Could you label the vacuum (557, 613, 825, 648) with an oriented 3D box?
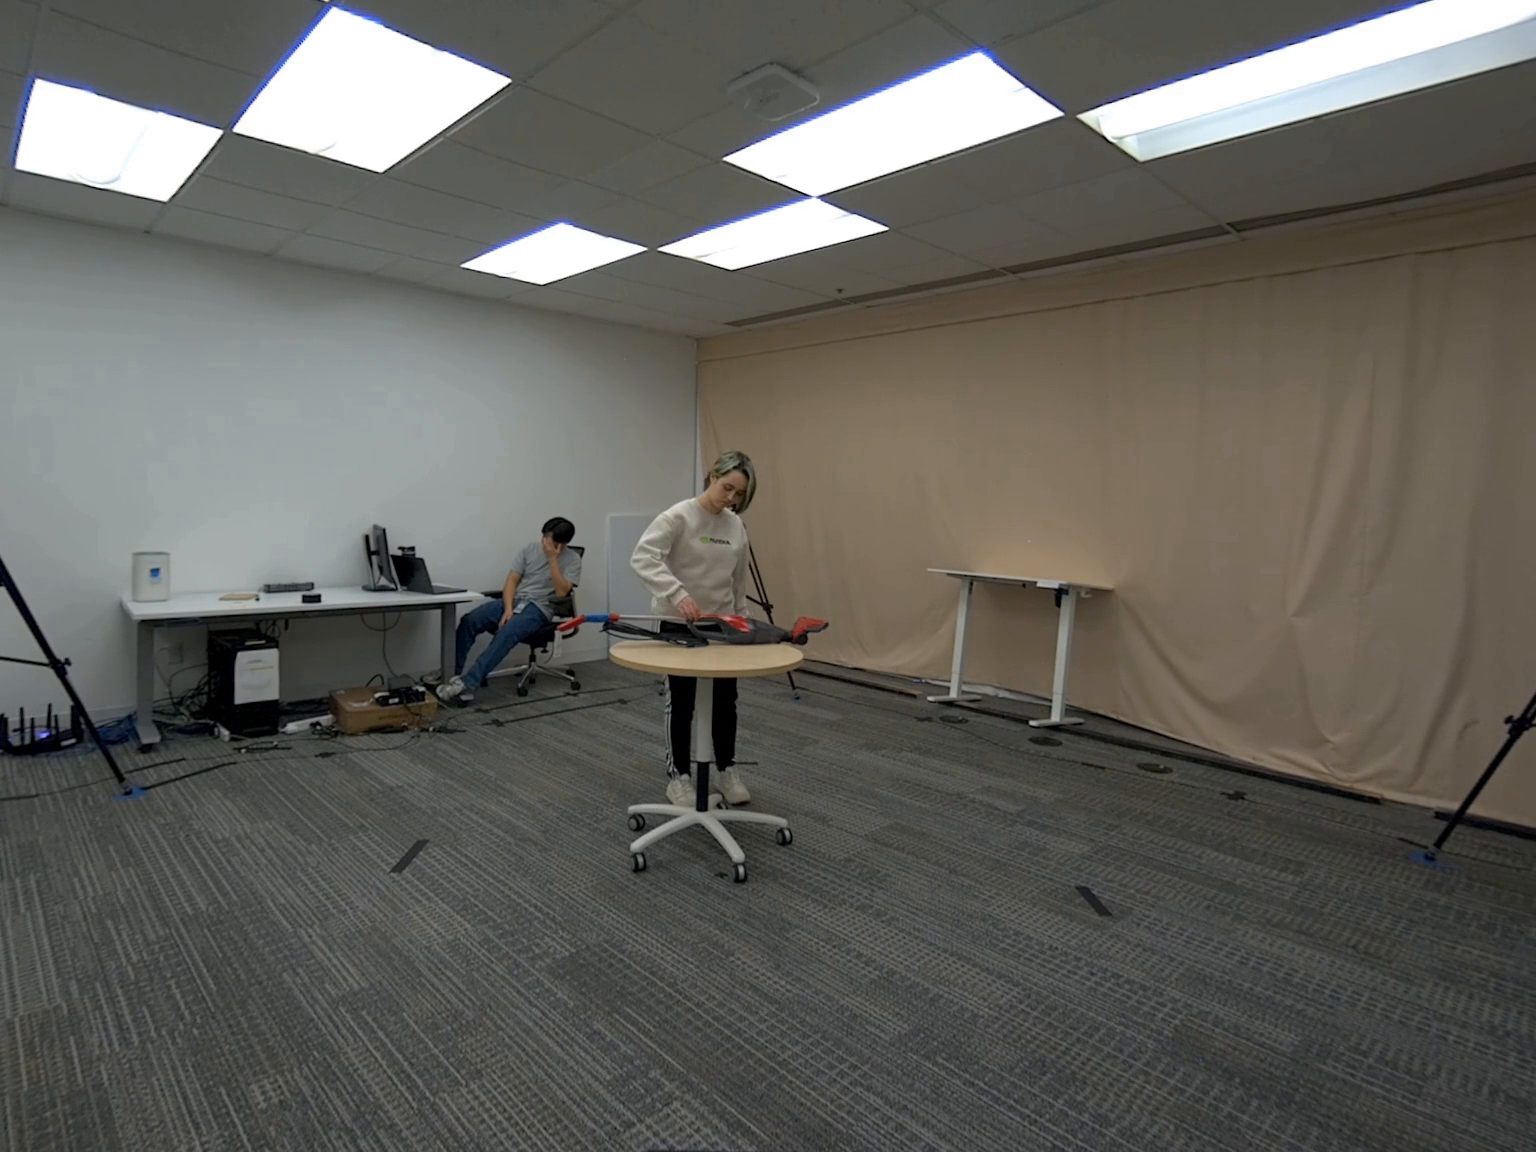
[{"bbox_3d":[-0.331,0.236,3.453,1.032,0.144,0.257,1,2,-21],"label":"vacuum"}]
